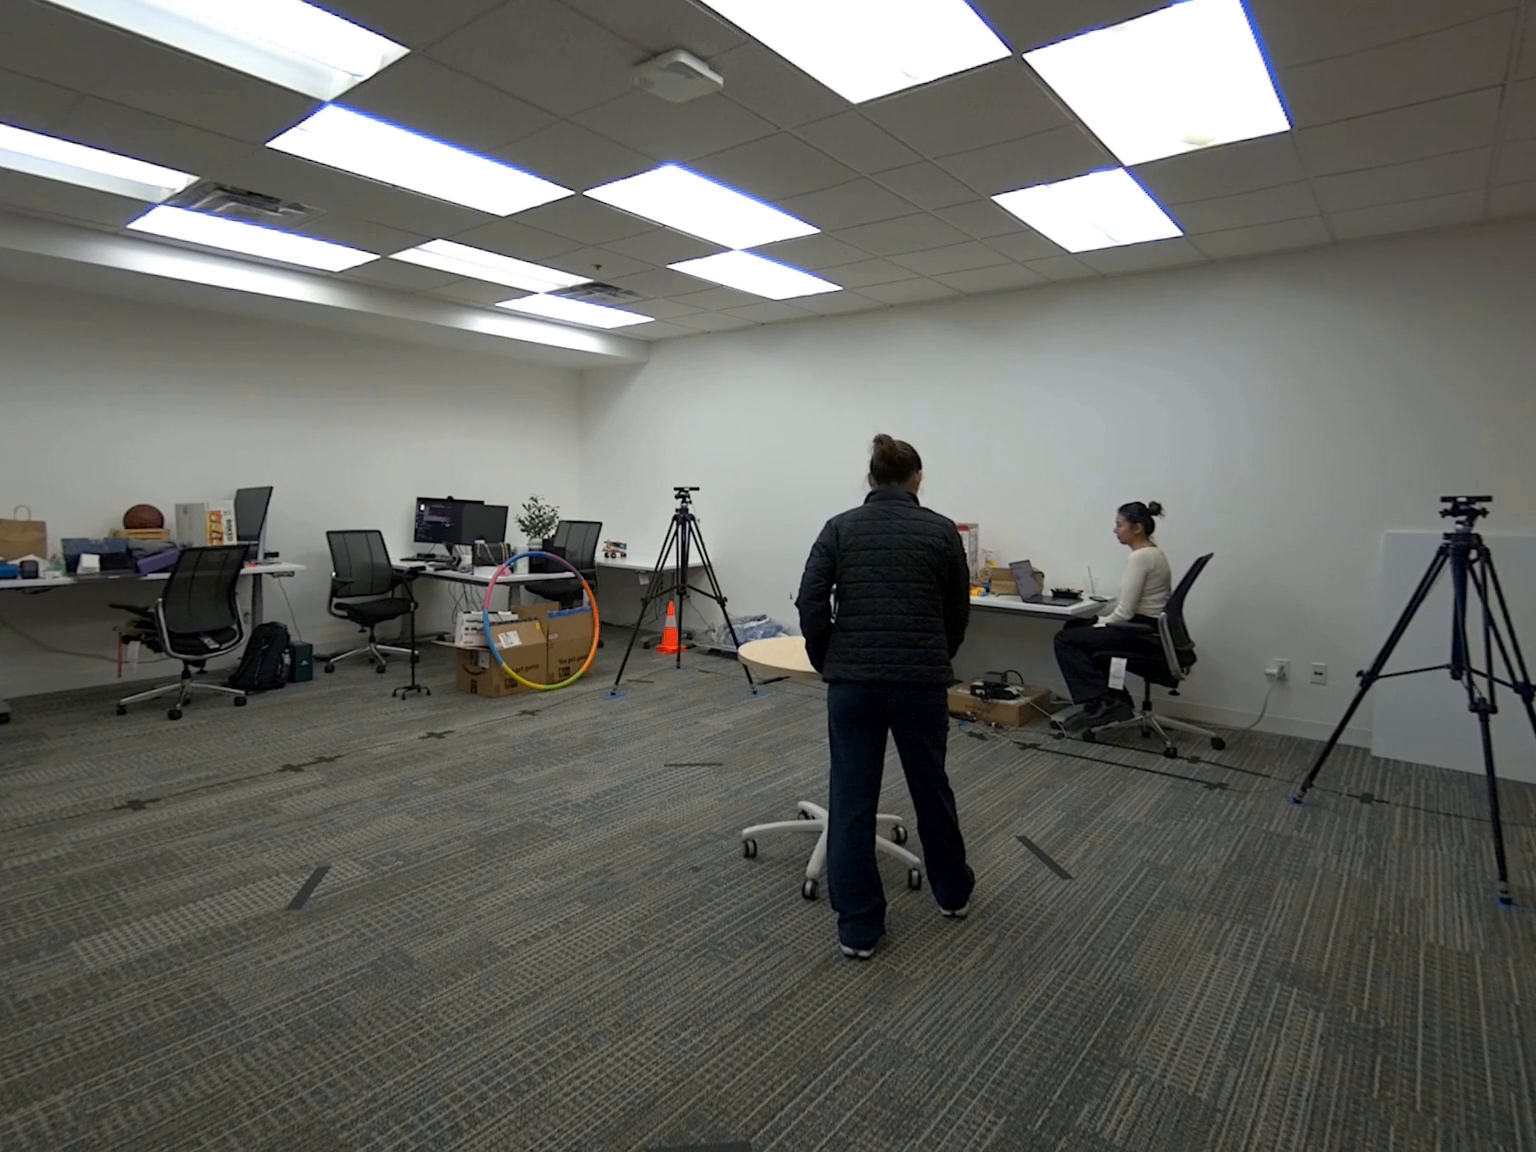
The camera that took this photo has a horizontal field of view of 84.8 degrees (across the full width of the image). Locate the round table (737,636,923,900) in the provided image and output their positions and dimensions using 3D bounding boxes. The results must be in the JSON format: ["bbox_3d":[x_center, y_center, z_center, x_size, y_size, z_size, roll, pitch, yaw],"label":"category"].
[{"bbox_3d":[0.288,0.671,3.200,0.784,0.784,0.789,1,4,-2],"label":"round table"}]
